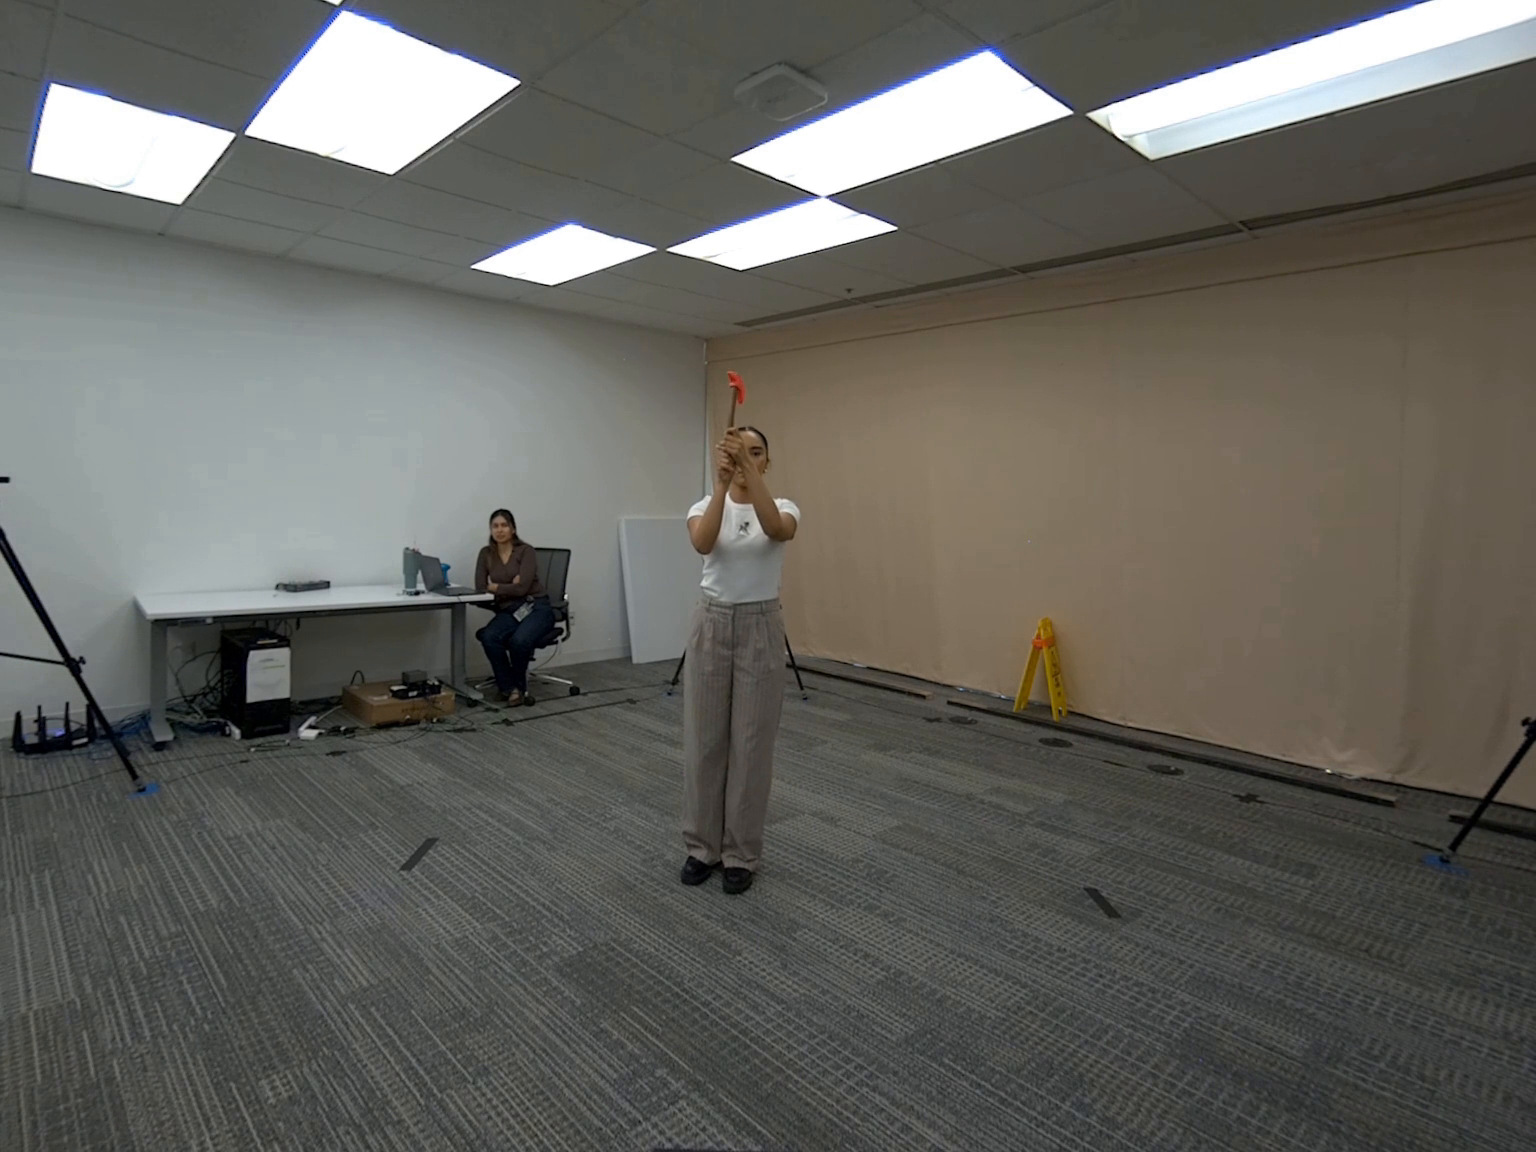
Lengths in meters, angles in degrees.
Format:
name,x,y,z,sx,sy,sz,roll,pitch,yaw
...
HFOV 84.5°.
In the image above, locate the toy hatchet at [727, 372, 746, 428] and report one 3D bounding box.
name,x,y,z,sx,sy,sz,roll,pitch,yaw
toy hatchet,-0.111,-0.532,2.763,0.030,0.270,0.129,-2,-2,20
